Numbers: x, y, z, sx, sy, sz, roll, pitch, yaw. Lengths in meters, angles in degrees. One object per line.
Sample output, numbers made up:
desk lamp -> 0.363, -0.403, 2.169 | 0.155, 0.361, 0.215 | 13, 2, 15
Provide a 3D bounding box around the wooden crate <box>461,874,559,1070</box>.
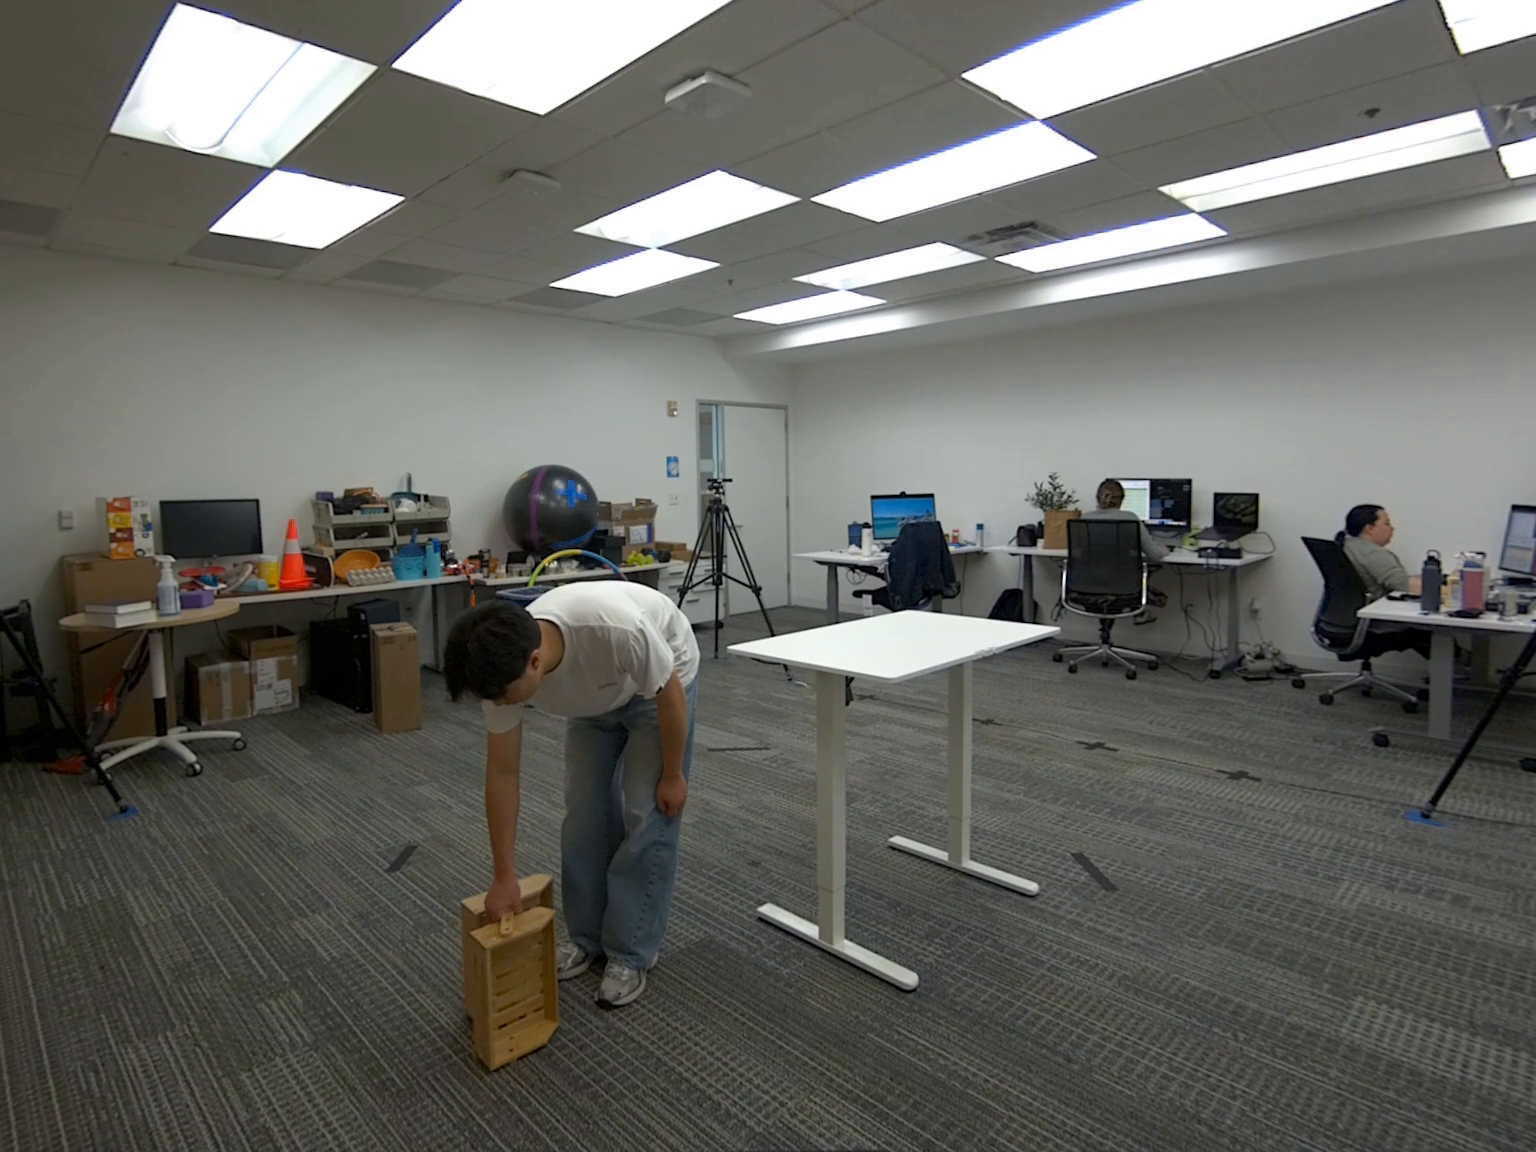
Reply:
wooden crate -> -0.632, 1.001, 2.194 | 0.294, 0.323, 0.281 | -5, 5, -39
